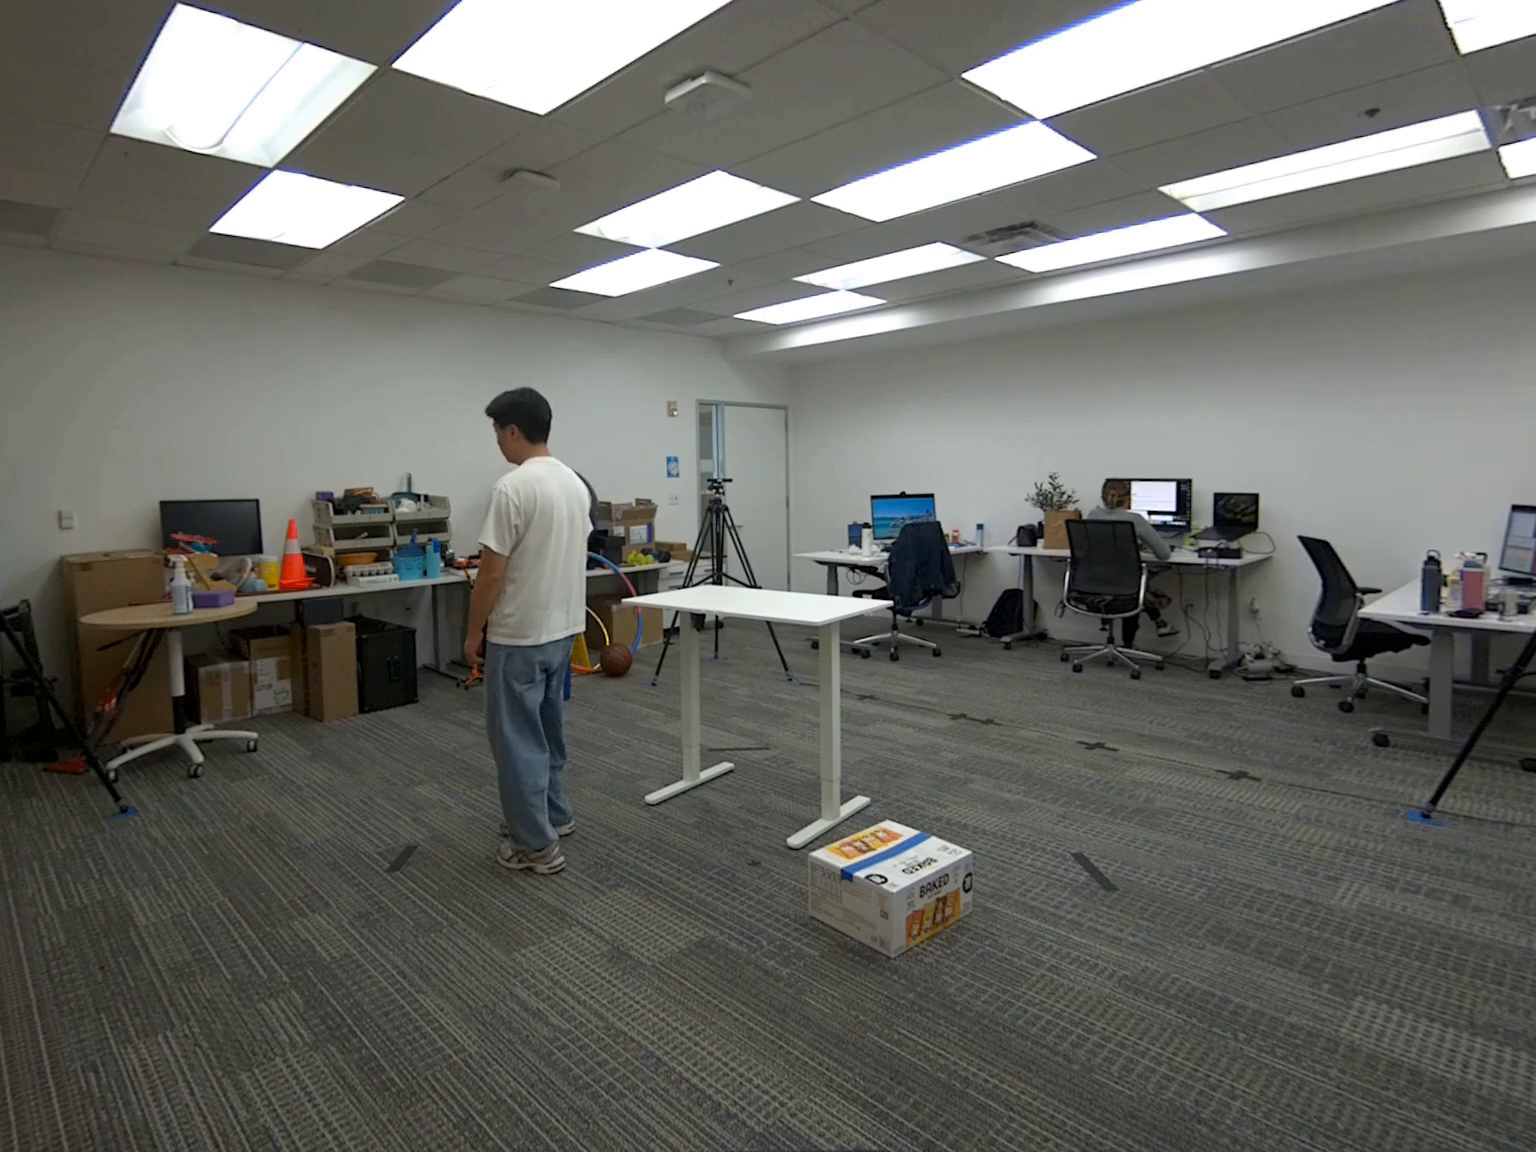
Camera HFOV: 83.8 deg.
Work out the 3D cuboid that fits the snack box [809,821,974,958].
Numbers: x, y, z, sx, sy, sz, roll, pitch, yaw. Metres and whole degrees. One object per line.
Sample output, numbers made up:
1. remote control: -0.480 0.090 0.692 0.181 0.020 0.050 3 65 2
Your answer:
1. snack box: 0.394 0.981 2.717 0.394 0.205 0.351 -6 7 -41
